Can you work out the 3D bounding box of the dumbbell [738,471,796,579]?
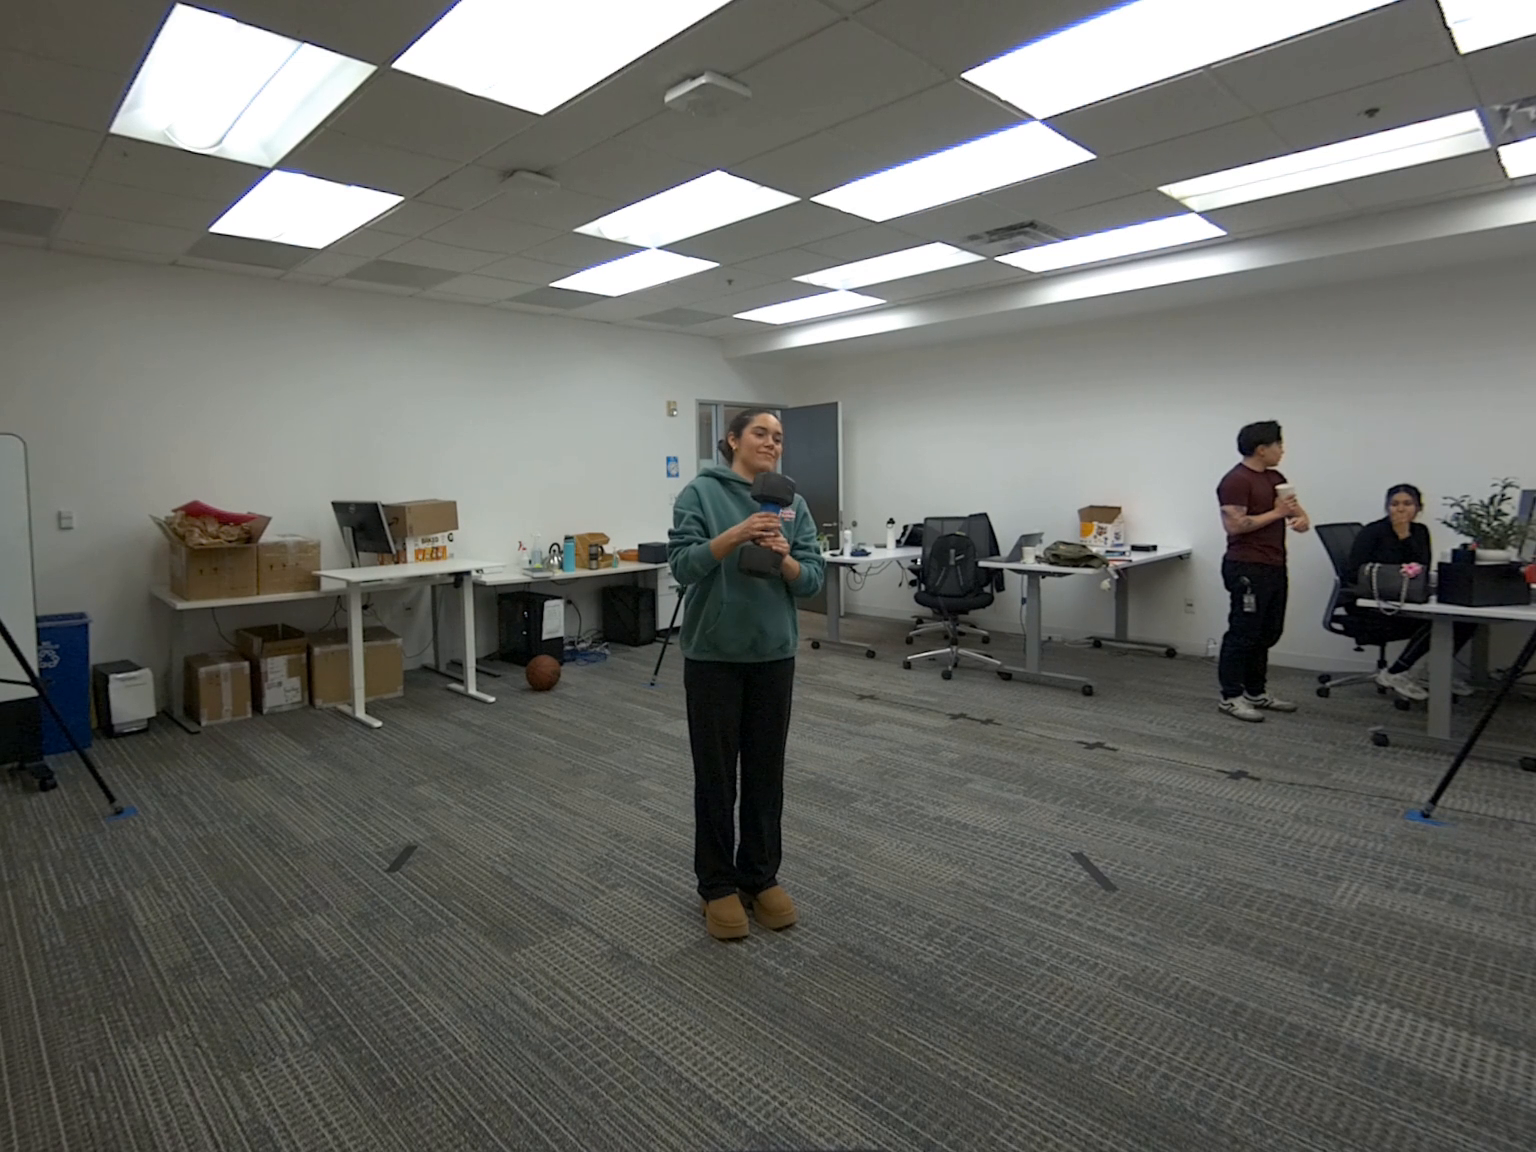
[{"bbox_3d":[-0.009,-0.133,2.418,0.106,0.295,0.125,15,-10,-26],"label":"dumbbell"}]
